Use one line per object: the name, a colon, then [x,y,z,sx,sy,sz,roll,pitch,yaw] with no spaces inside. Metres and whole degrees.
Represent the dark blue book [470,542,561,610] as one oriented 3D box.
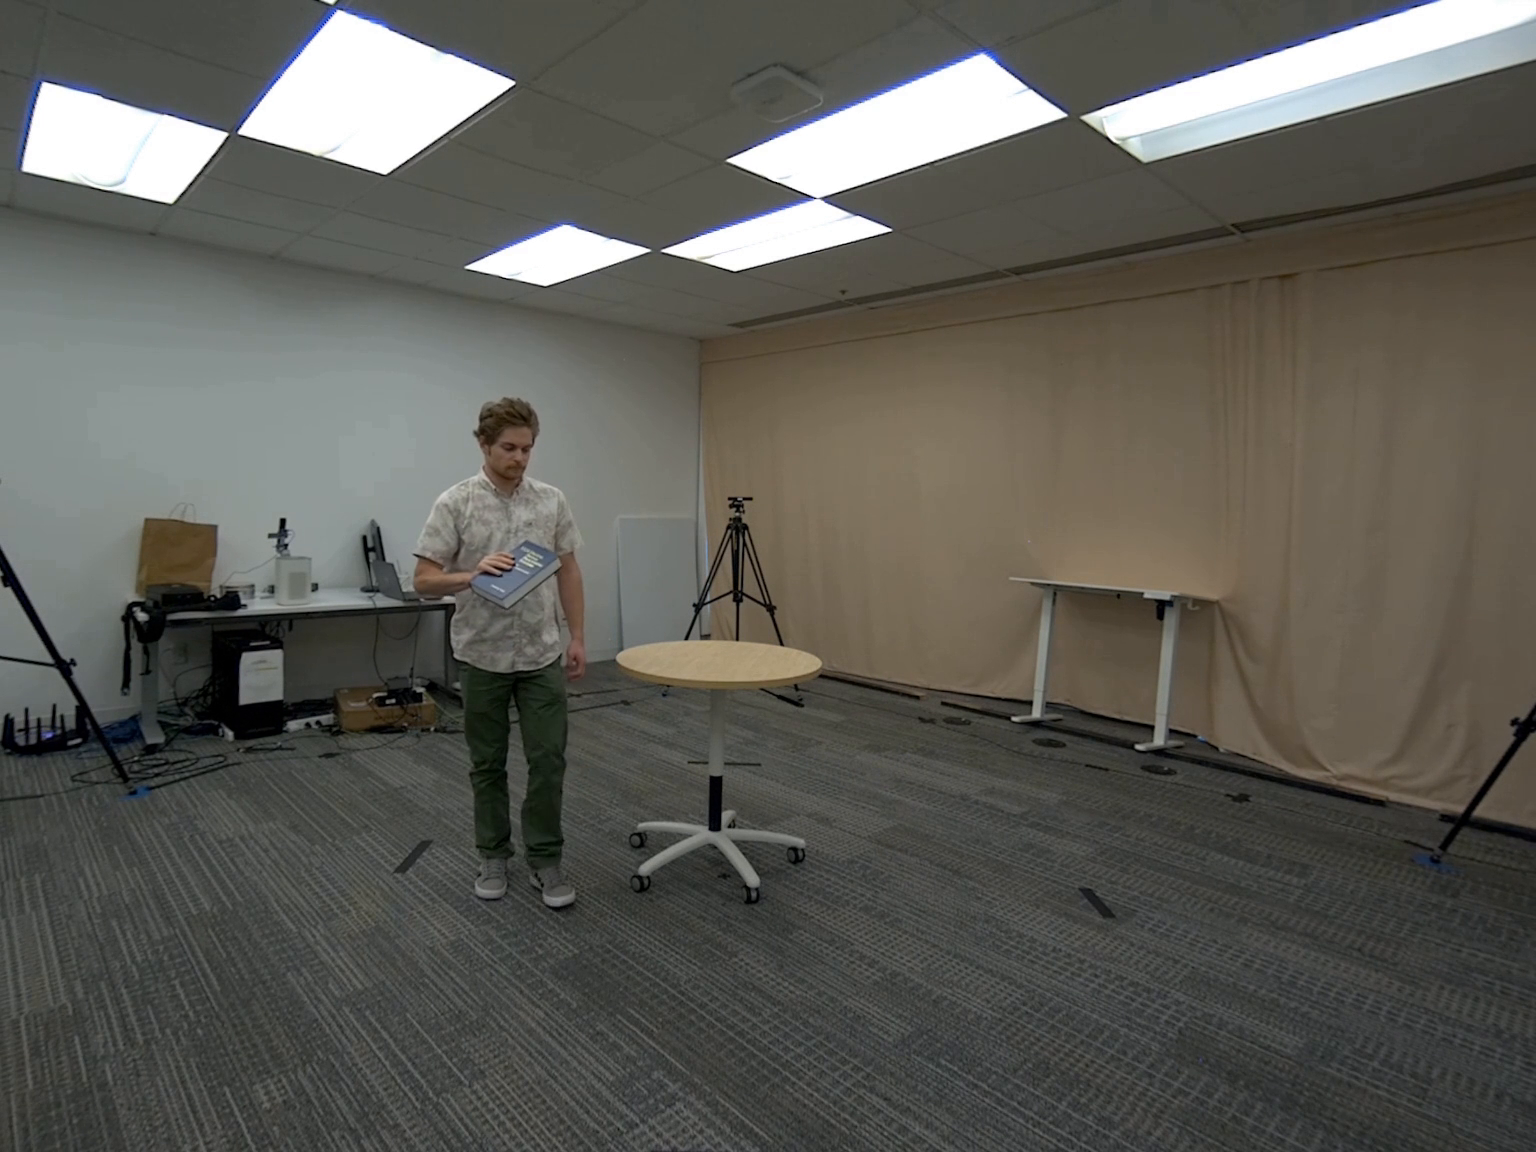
dark blue book: [-0.788,-0.005,2.642,0.167,0.044,0.245,19,46,27]
